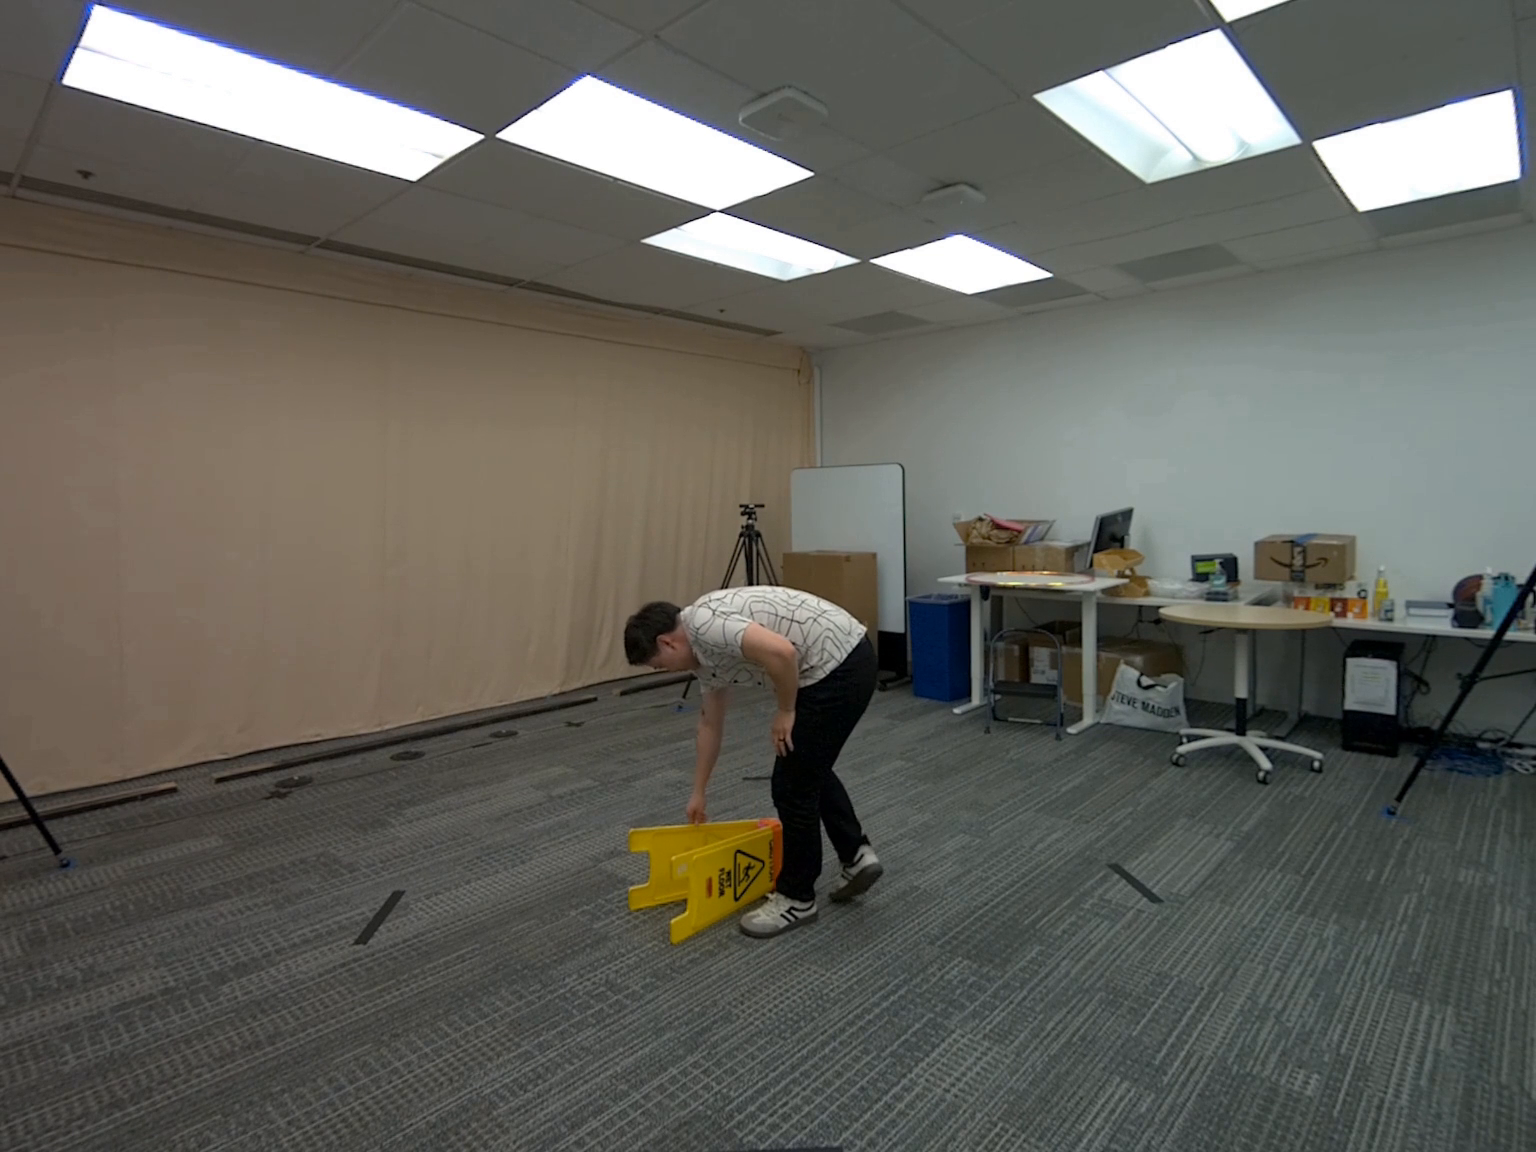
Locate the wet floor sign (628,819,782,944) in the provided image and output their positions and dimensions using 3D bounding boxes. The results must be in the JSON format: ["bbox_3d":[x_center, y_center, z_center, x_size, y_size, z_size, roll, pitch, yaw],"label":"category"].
[{"bbox_3d":[-0.136,1.014,2.968,0.627,0.282,0.299,-2,4,-35],"label":"wet floor sign"}]
